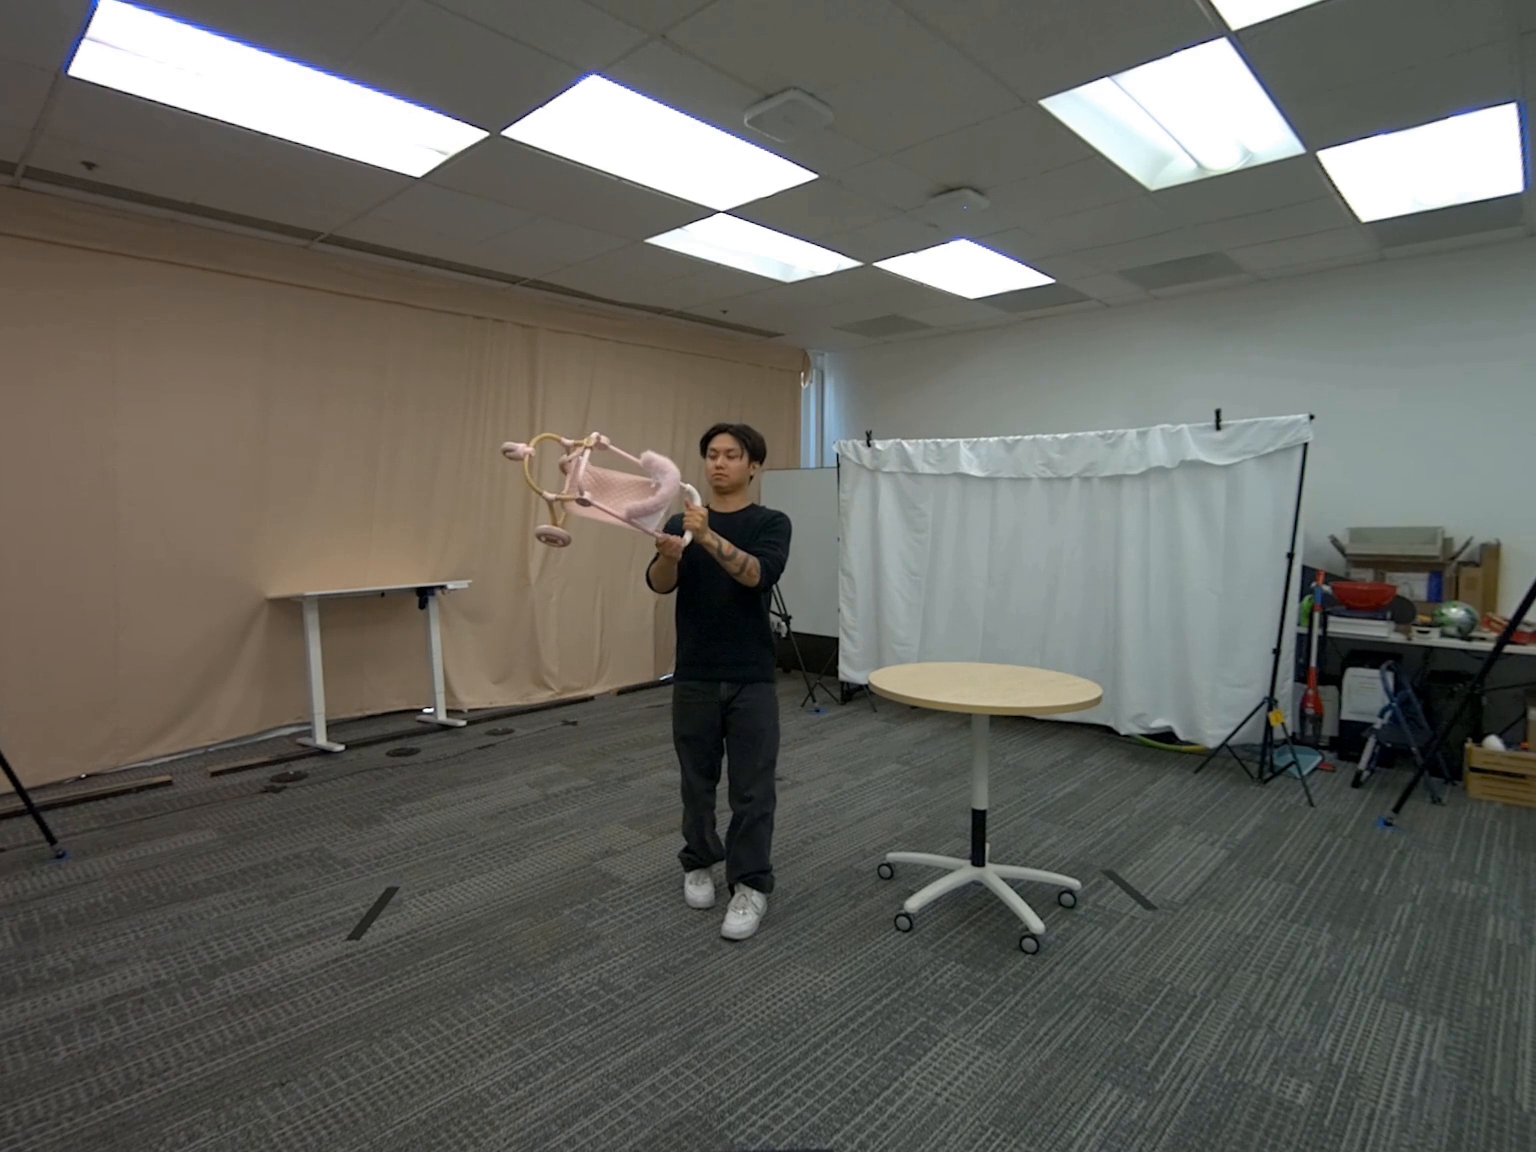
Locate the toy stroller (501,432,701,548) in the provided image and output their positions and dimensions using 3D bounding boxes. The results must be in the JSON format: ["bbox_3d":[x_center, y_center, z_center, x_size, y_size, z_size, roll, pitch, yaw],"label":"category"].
[{"bbox_3d":[-0.477,-0.264,2.432,0.543,0.284,0.333,7,-31,12],"label":"toy stroller"}]
